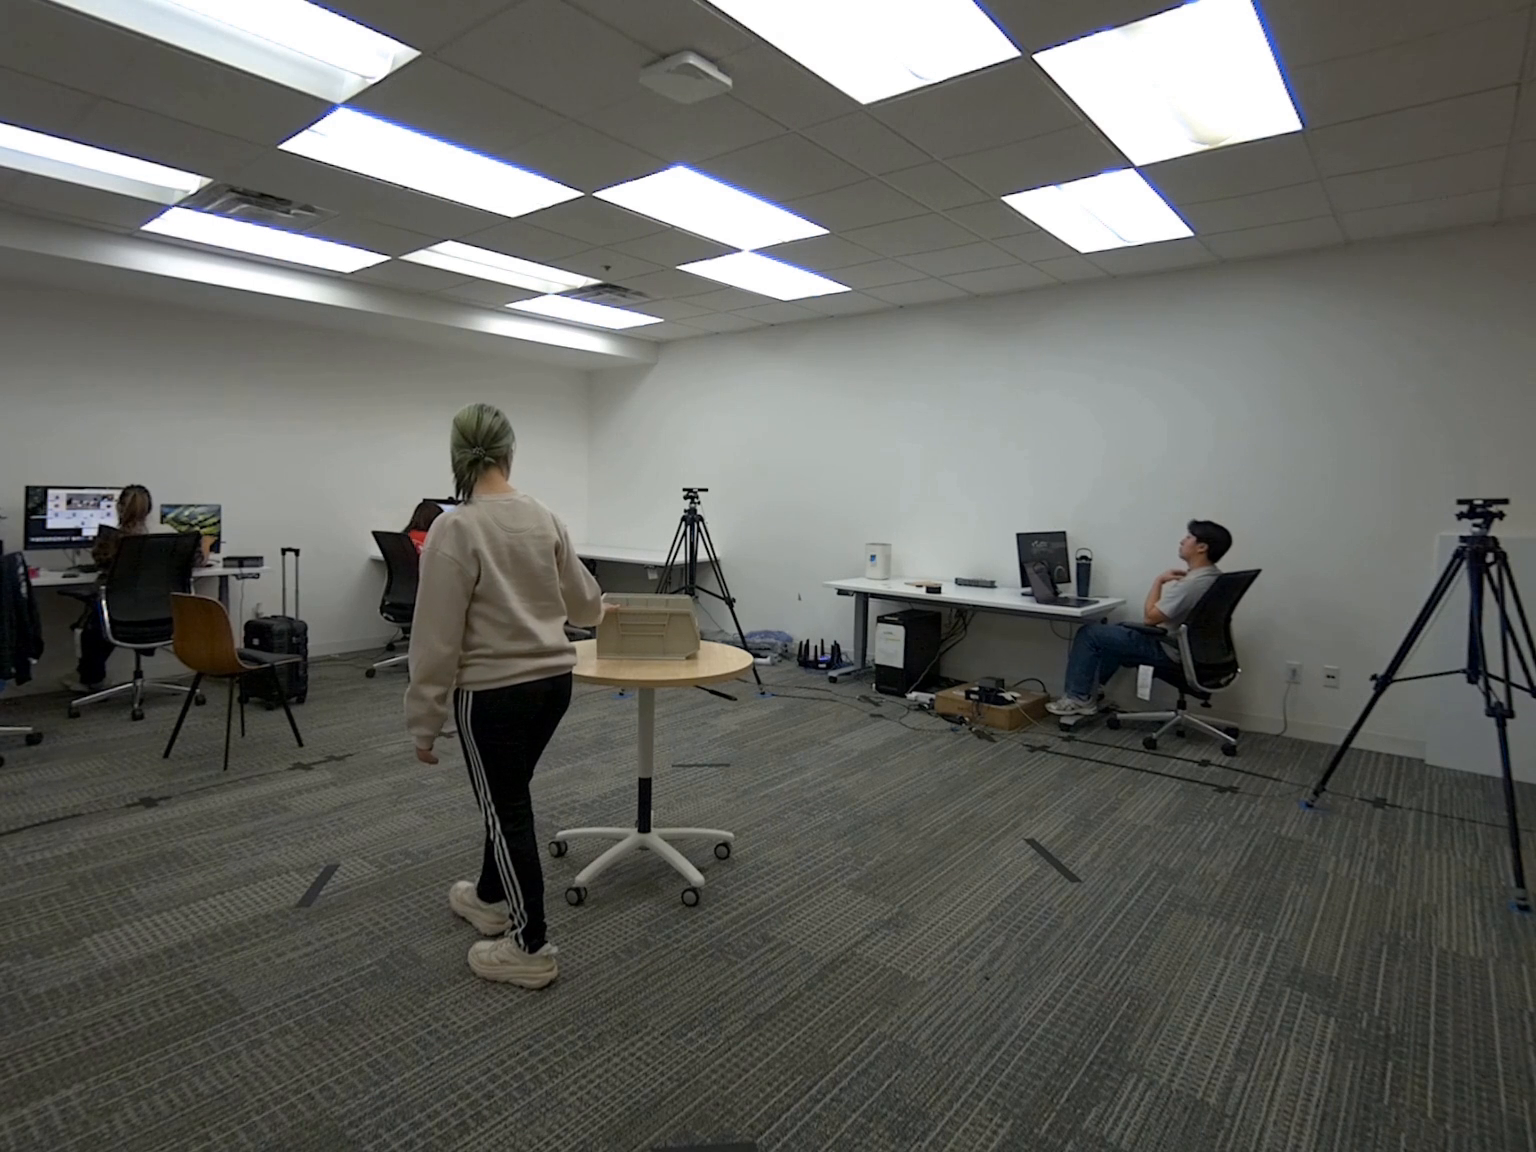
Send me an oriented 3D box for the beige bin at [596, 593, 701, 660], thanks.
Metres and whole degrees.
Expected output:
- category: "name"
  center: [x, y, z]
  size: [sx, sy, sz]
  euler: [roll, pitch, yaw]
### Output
- category: "beige bin"
  center: [-0.455, 0.180, 3.192]
  size: [0.376, 0.188, 0.426]
  euler: [-1, 6, -4]
